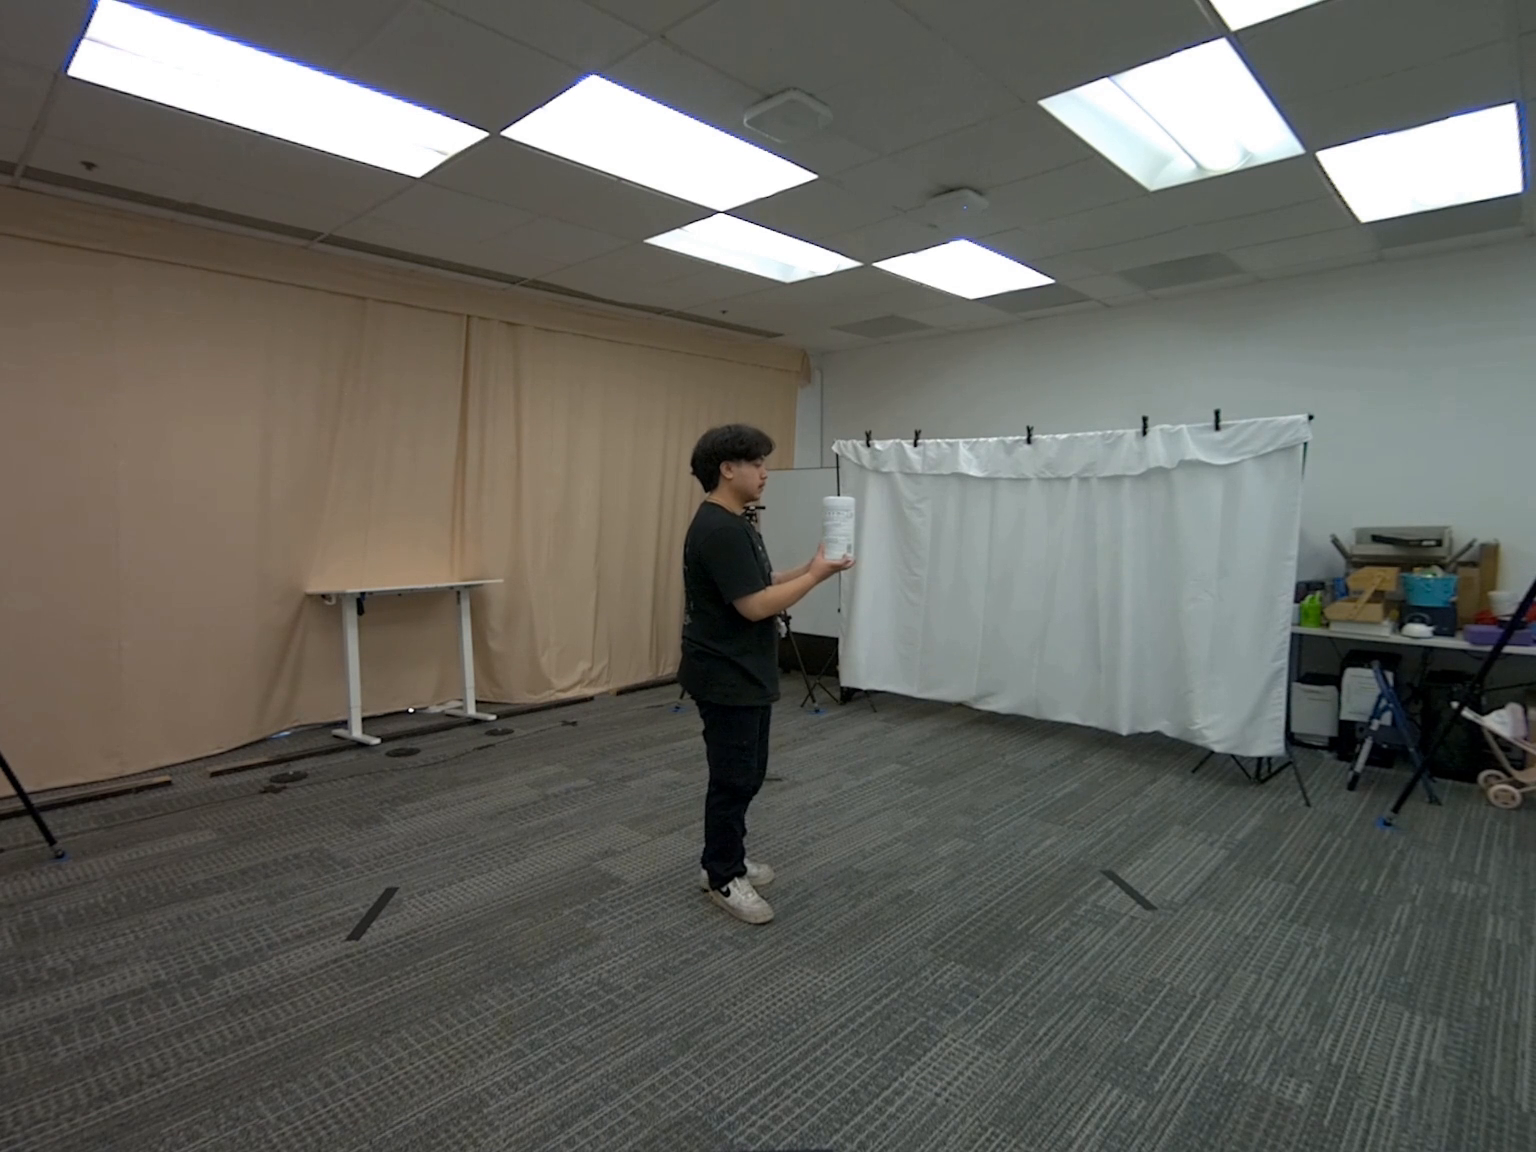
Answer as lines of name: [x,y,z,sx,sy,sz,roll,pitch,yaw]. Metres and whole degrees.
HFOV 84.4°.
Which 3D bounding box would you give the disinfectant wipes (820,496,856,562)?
disinfectant wipes: [0.244,-0.156,2.851,0.118,0.217,0.118,2,1,-2]
